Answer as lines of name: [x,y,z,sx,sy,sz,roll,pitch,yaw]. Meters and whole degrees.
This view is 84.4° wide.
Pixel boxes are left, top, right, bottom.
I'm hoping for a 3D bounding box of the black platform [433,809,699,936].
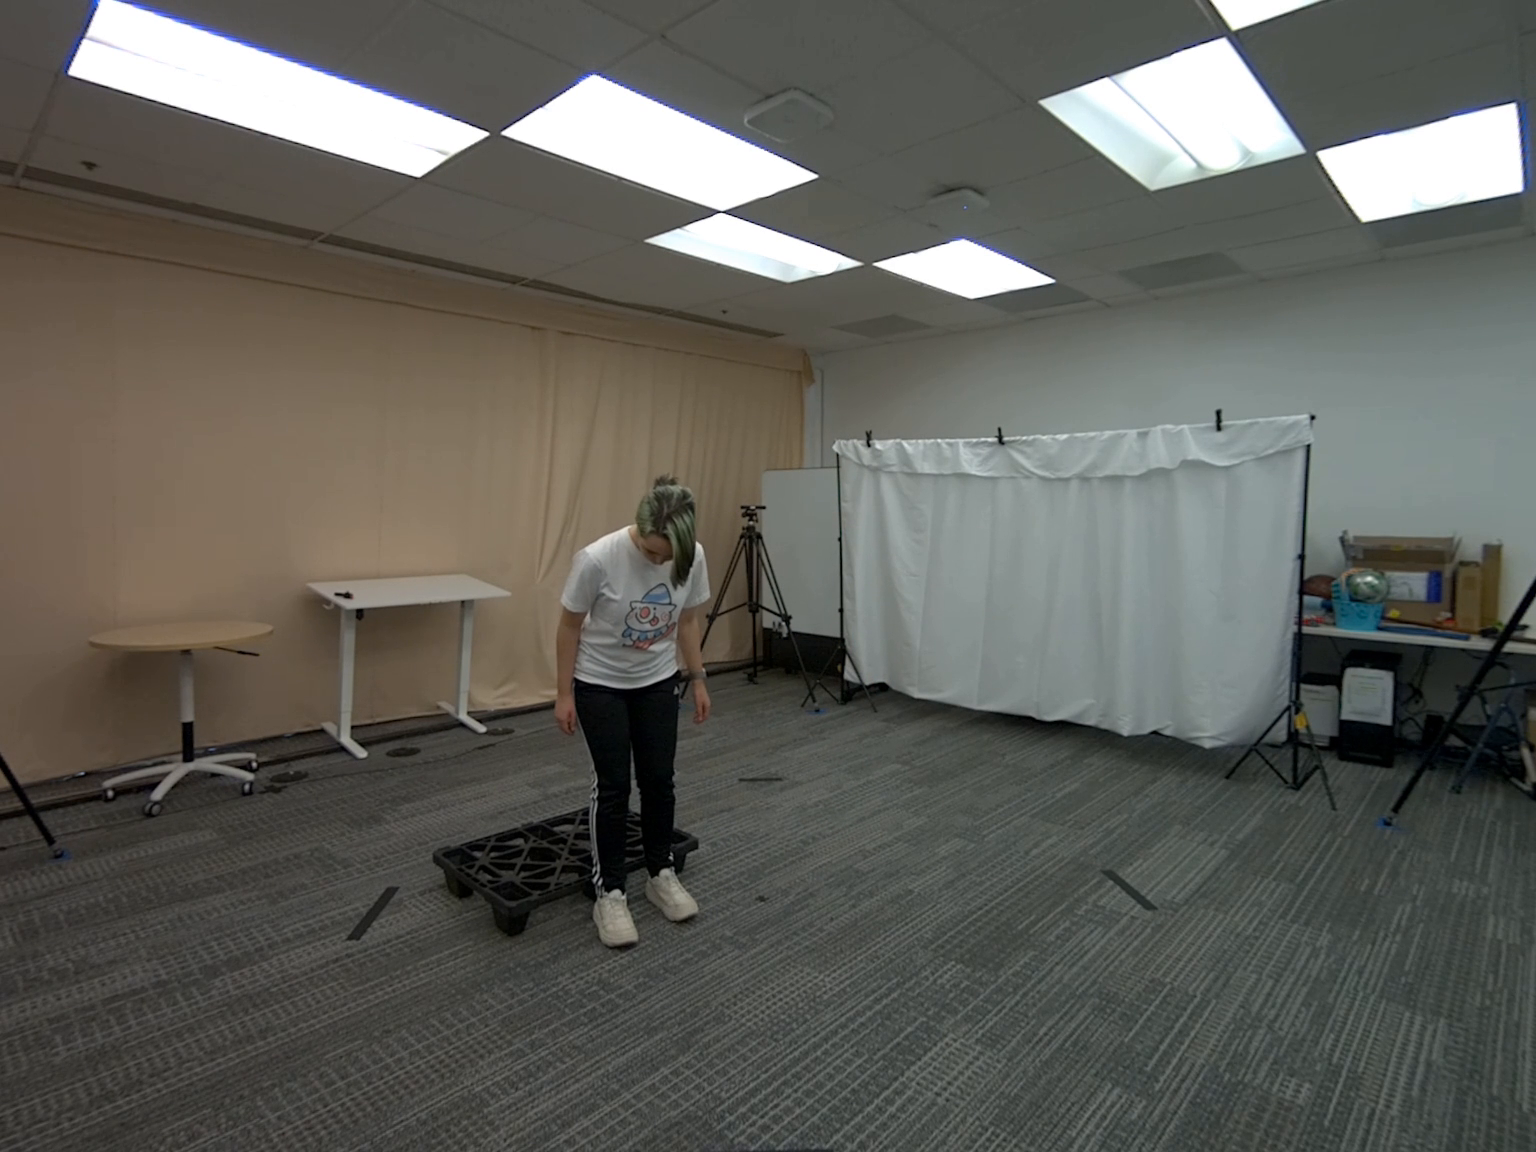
black platform: [-0.740,1.070,3.139,0.781,0.143,0.625,-5,7,-44]
